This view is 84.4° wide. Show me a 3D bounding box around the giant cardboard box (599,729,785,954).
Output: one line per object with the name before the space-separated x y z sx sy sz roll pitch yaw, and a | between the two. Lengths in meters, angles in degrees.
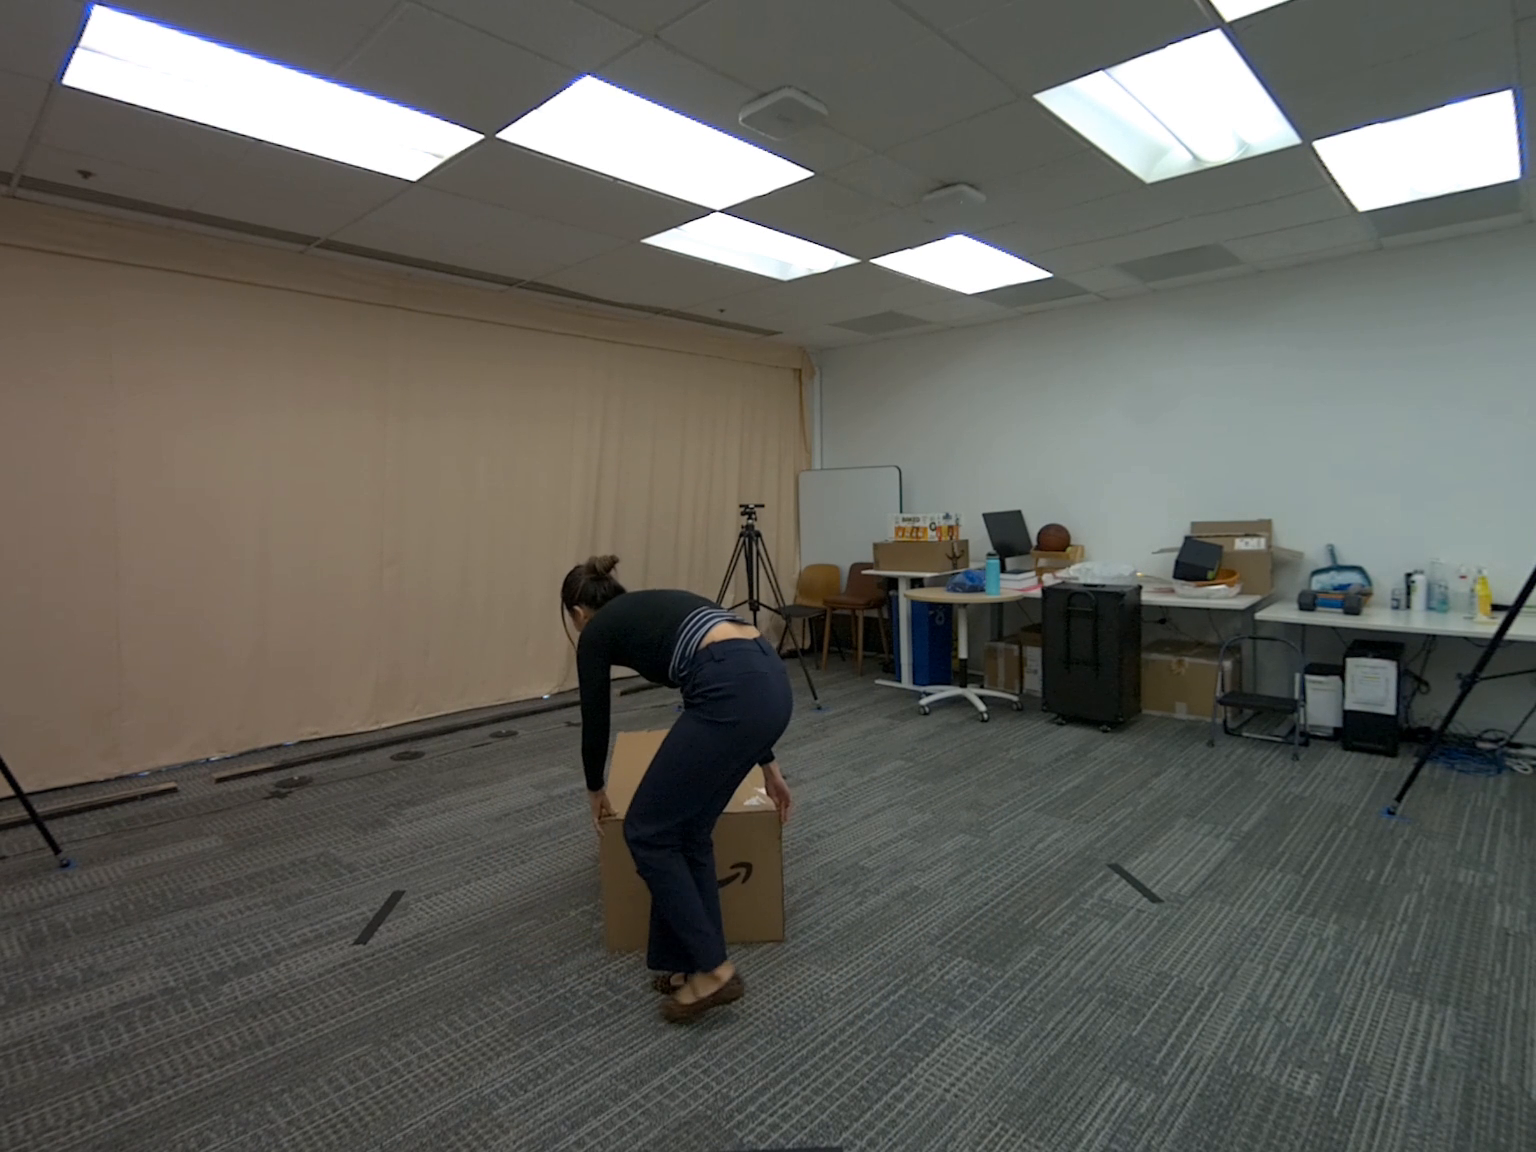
giant cardboard box | -0.299 0.914 3.154 0.574 0.425 1.035 -1 4 -7
